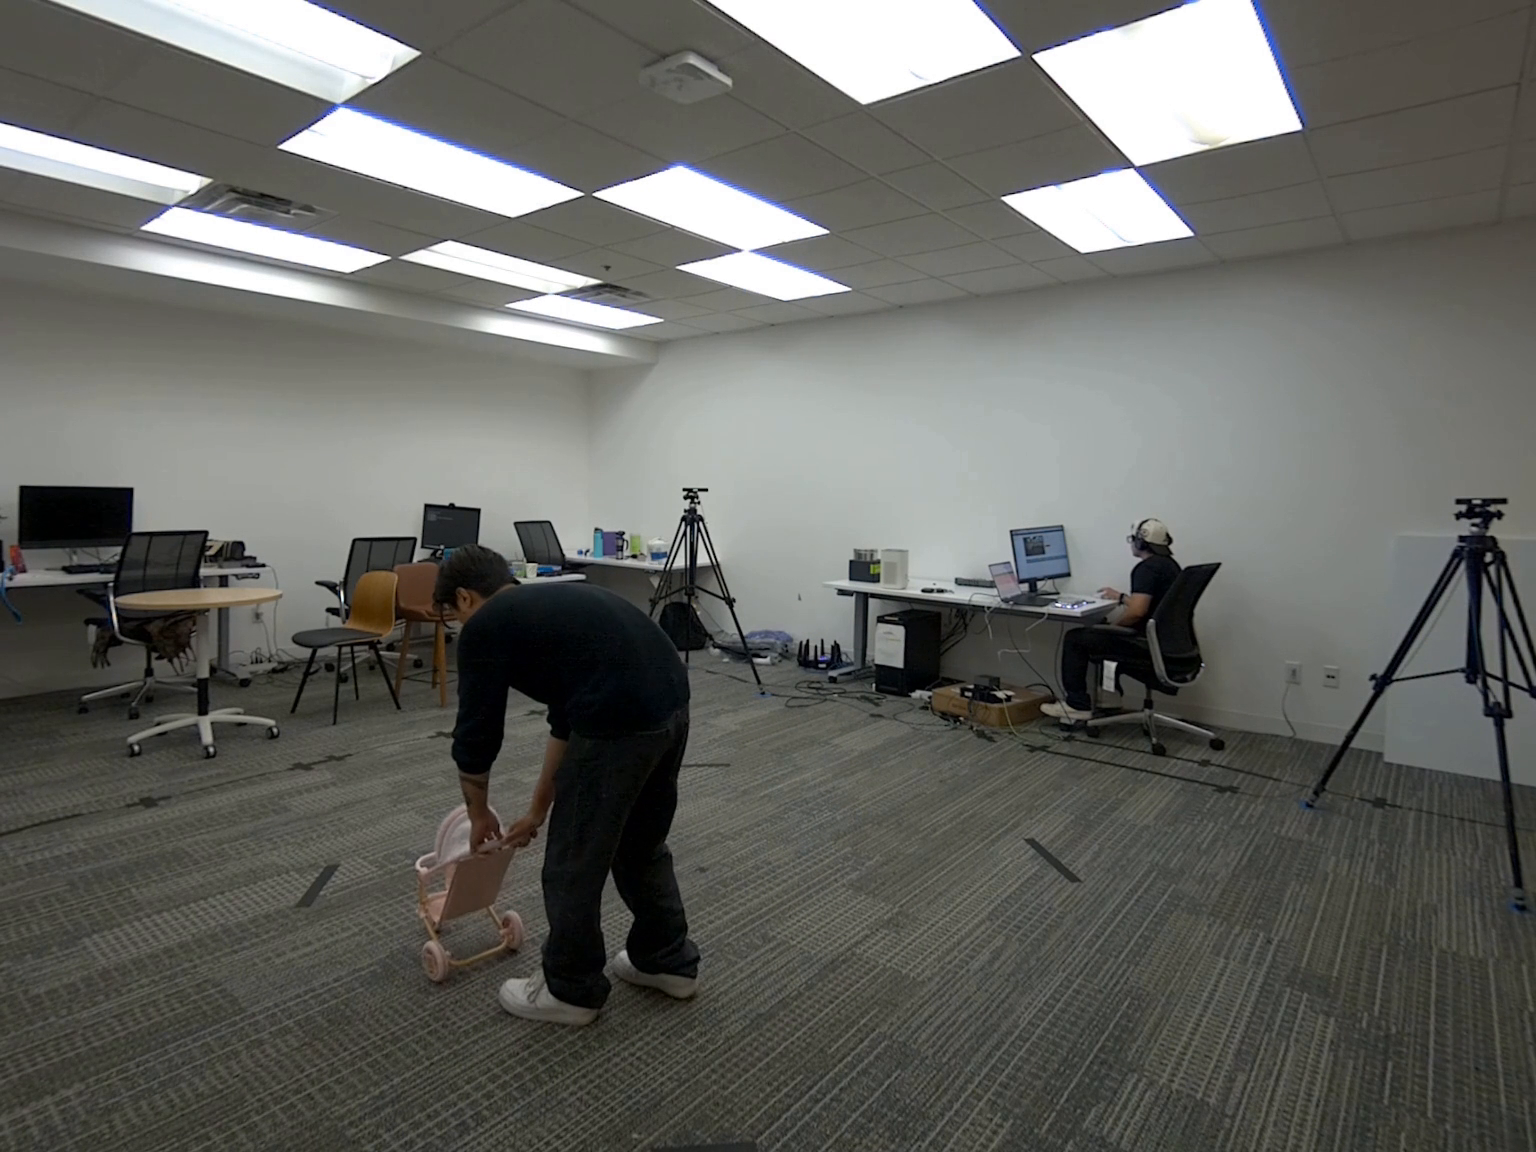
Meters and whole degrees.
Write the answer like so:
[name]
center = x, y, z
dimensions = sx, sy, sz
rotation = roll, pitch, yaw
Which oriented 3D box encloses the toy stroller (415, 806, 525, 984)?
[toy stroller]
center = -0.899, 0.897, 2.506
dimensions = 0.273, 0.529, 0.356
rotation = -1, 21, -42
